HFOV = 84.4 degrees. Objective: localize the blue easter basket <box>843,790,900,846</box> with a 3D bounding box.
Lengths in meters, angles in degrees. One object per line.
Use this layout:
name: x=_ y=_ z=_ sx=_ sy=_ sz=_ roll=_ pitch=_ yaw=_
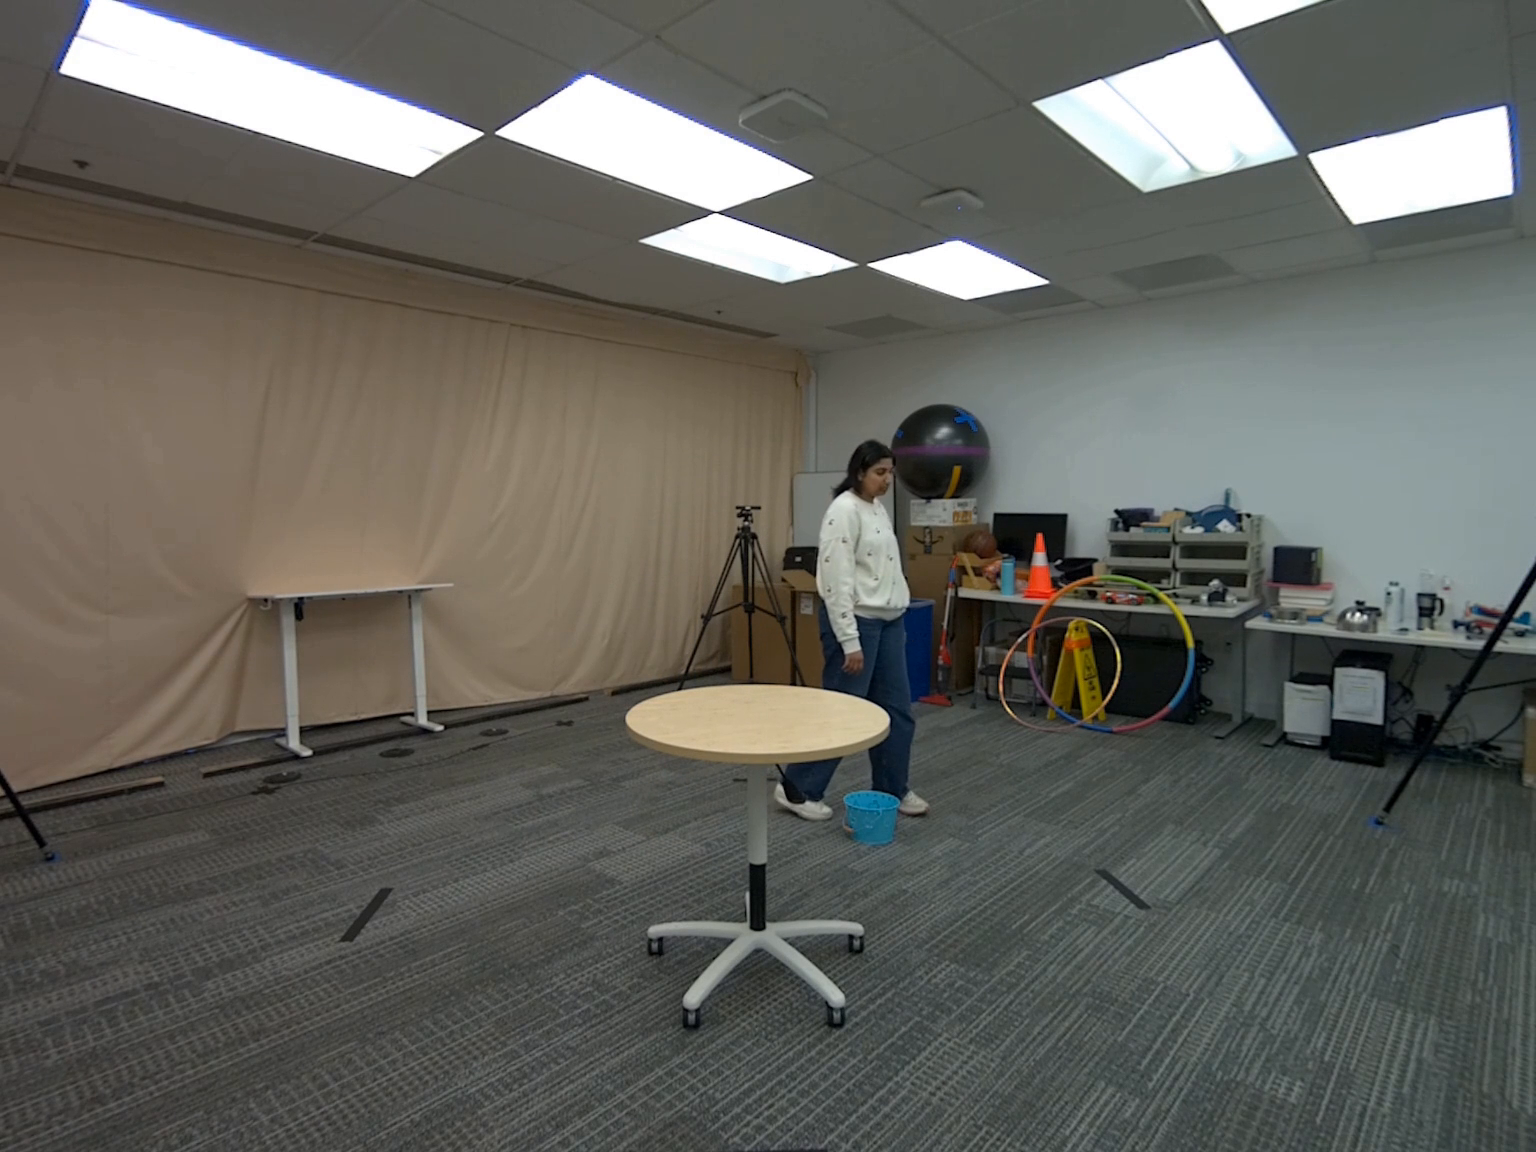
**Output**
blue easter basket: x=0.430 y=1.012 z=3.556 sx=0.243 sy=0.155 sz=0.244 roll=1 pitch=4 yaw=-2
